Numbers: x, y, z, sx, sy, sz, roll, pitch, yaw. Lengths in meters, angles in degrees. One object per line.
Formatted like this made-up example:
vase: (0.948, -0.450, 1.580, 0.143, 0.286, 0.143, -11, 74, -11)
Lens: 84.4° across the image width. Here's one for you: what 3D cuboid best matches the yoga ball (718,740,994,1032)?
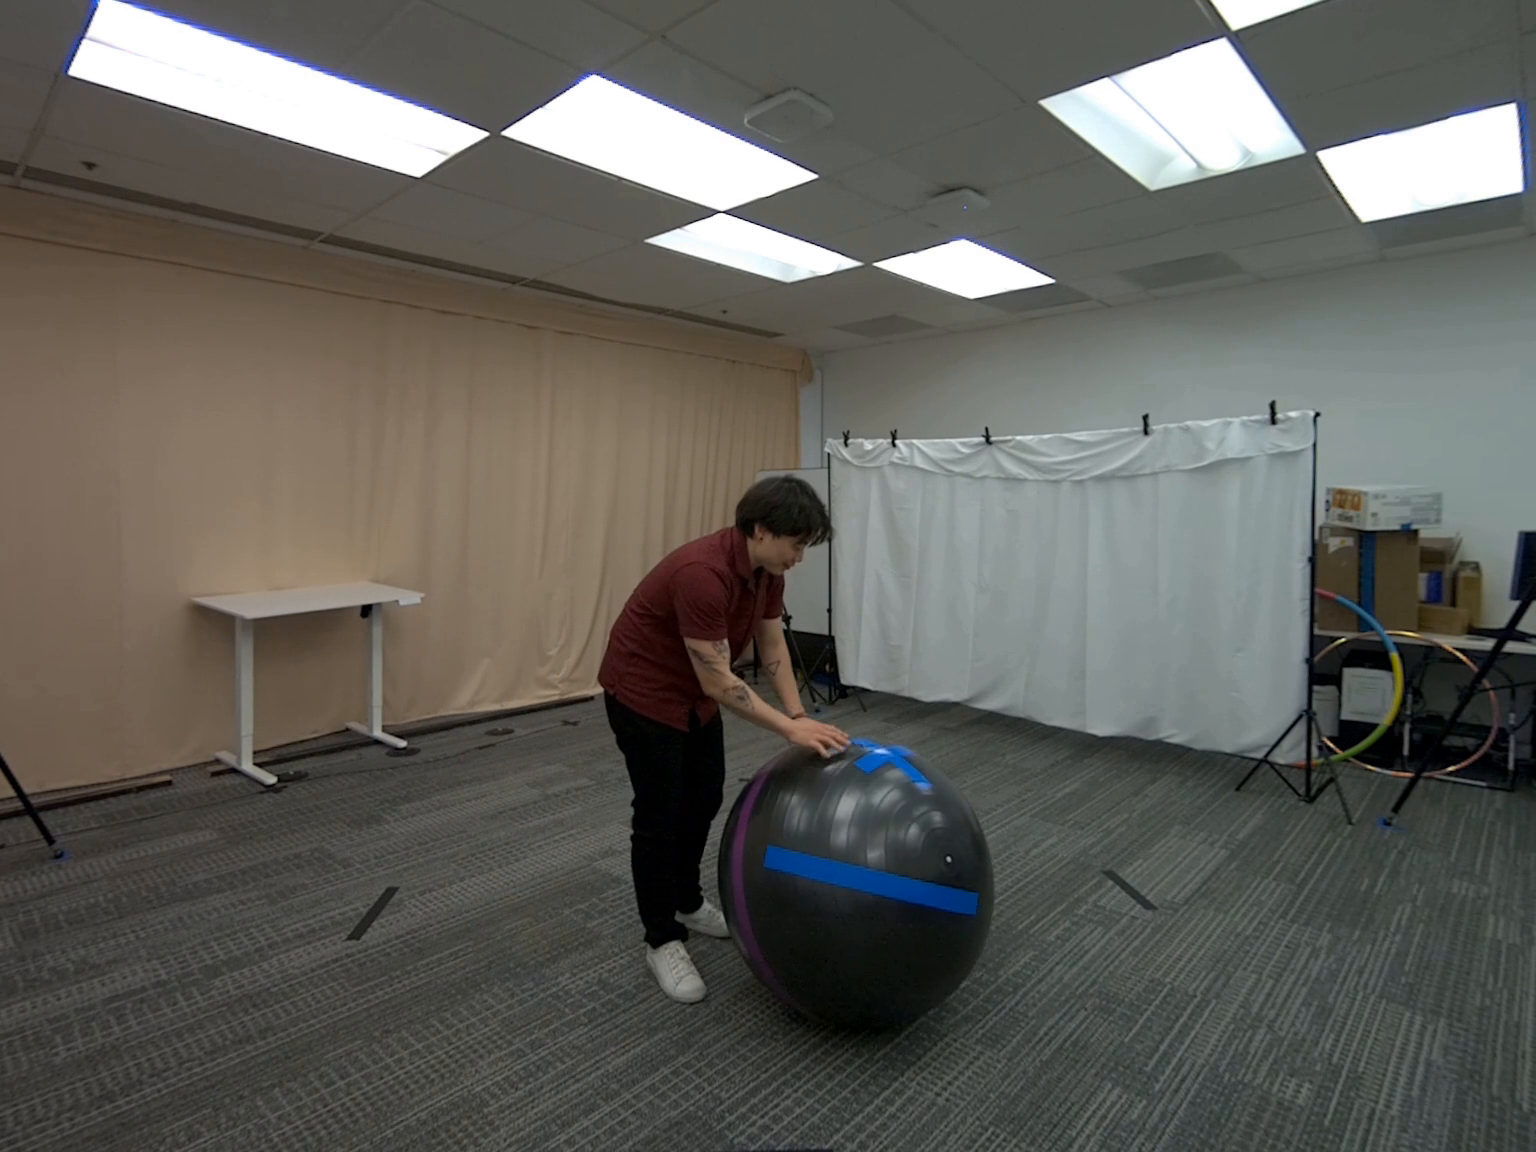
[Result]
yoga ball: (0.248, 0.843, 2.349, 0.757, 0.756, 0.760, 0, 4, -2)
